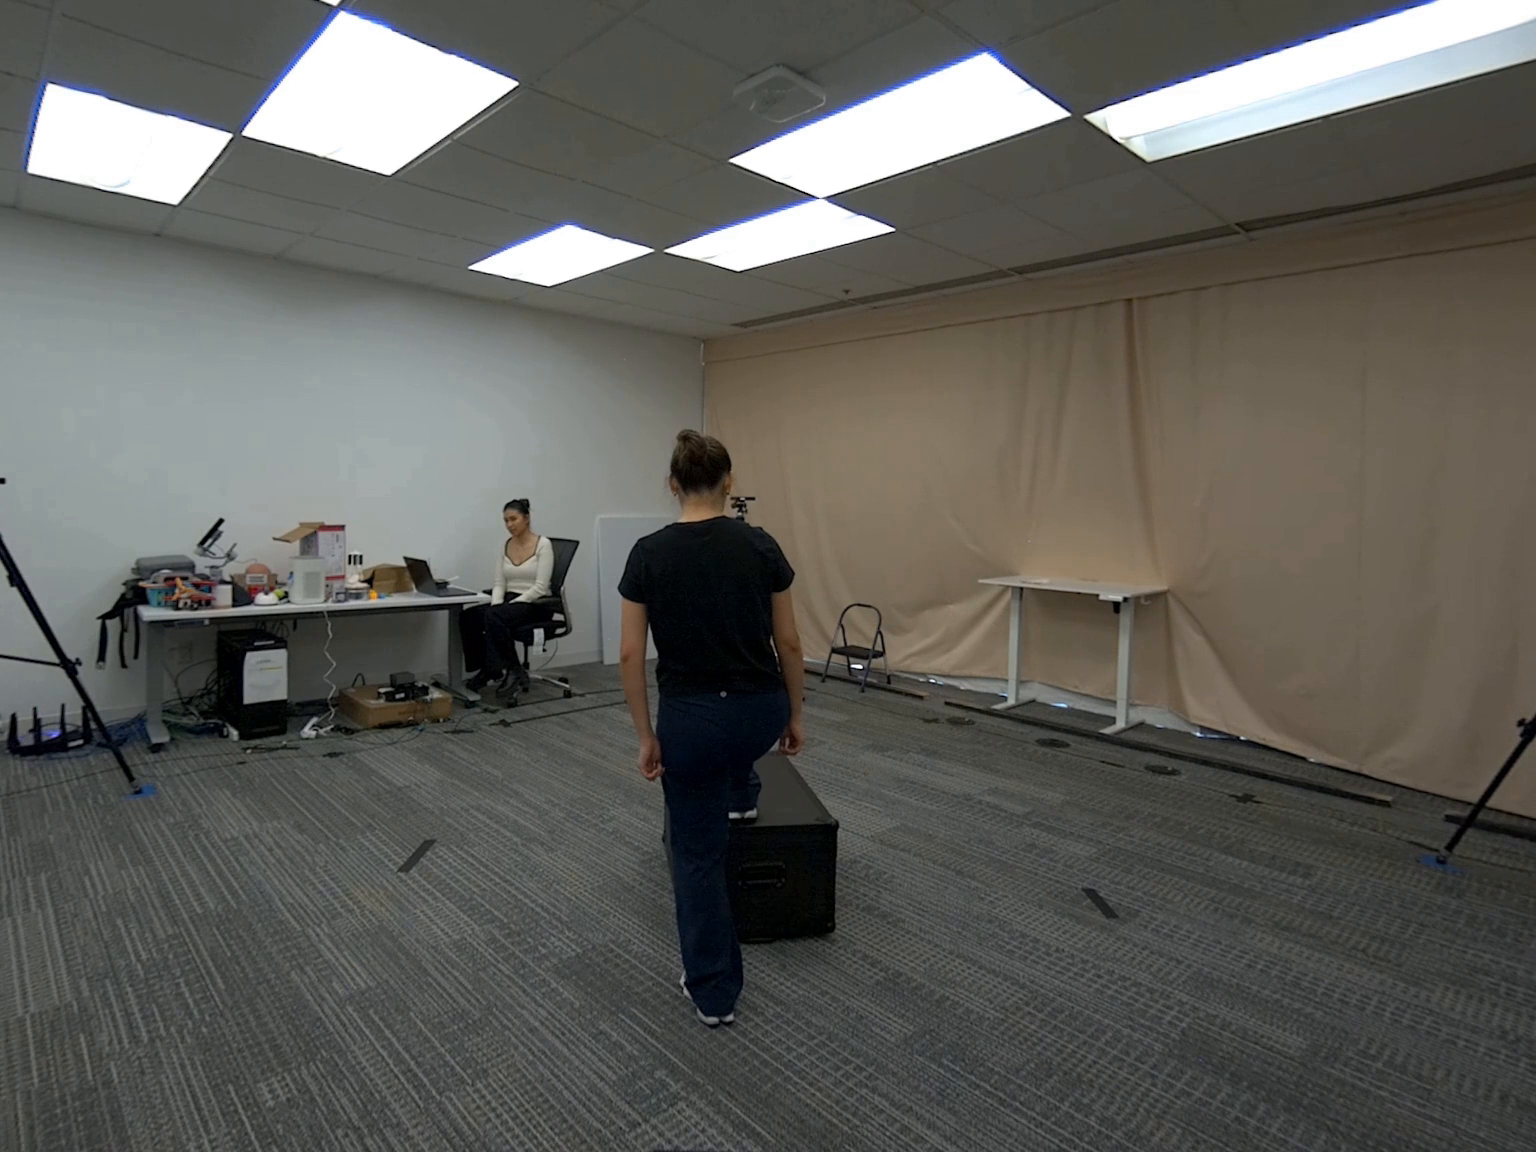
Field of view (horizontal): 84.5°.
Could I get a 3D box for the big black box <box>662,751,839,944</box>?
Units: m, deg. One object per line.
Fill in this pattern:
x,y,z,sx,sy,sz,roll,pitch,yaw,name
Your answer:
-0.105,0.921,3.020,0.516,0.395,0.872,1,5,-12,big black box
